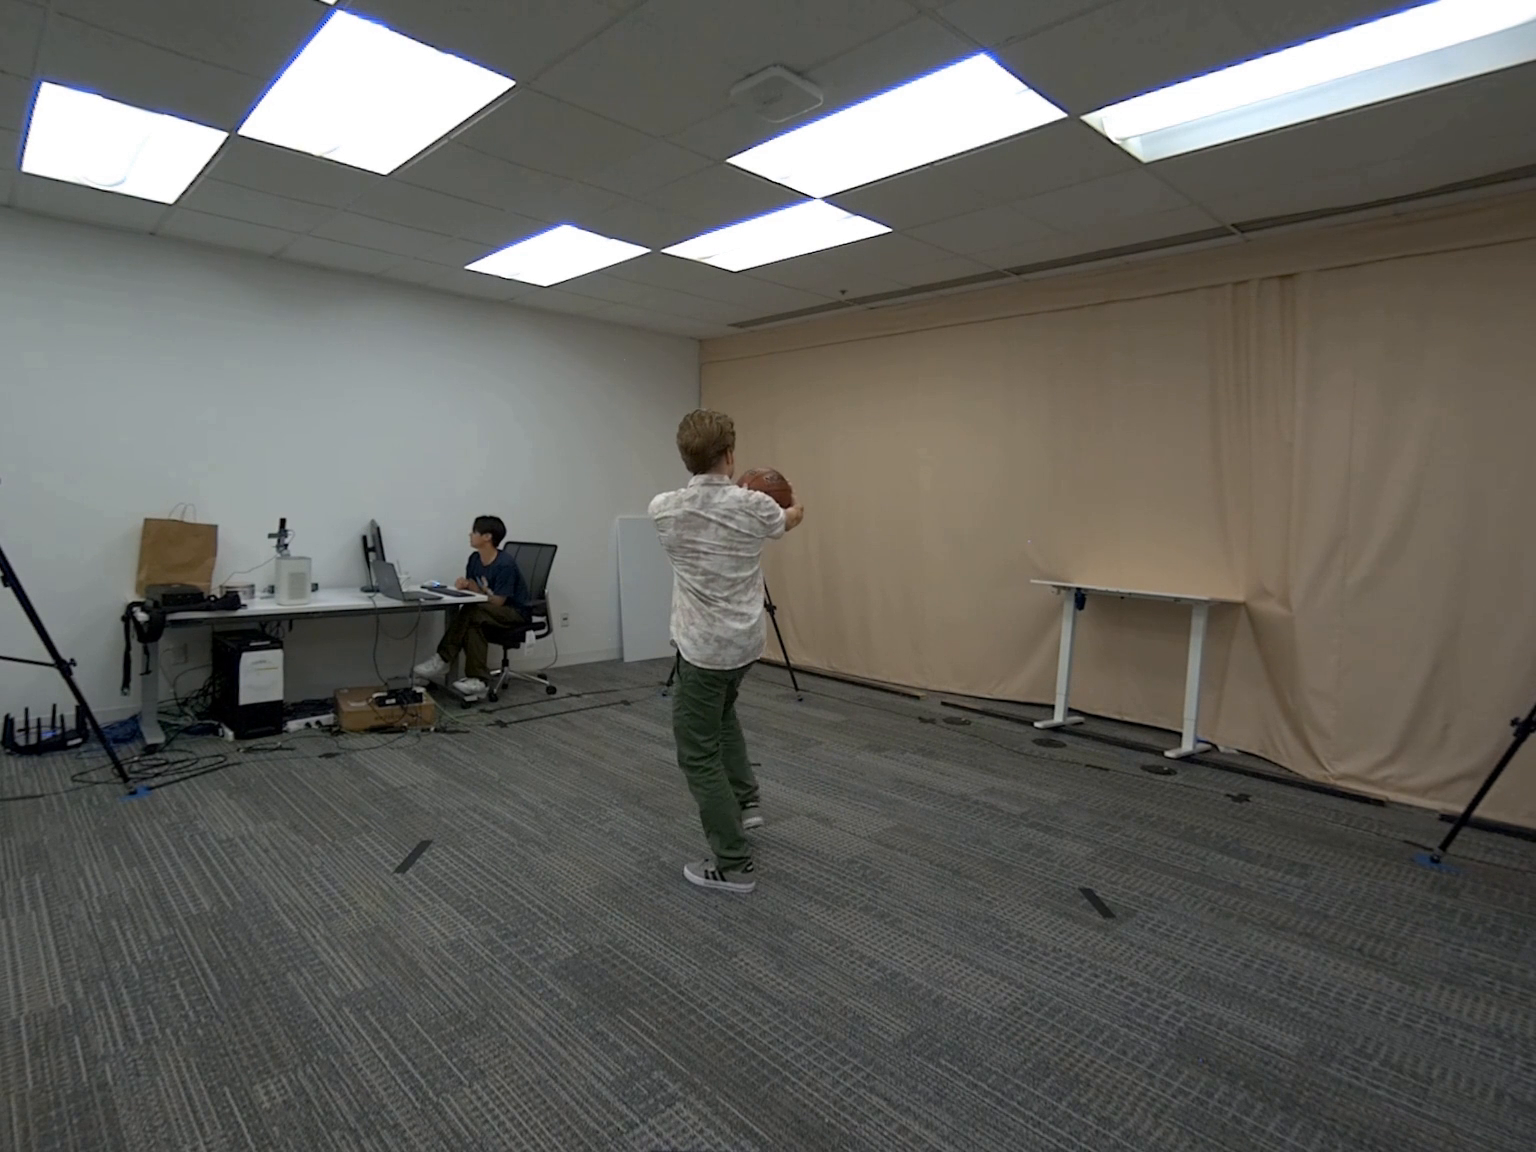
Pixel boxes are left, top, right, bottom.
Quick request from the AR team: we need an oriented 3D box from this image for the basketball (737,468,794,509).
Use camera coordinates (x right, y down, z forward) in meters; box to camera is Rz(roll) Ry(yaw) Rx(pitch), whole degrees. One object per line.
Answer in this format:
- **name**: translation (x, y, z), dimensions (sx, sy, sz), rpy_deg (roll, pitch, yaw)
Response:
- **basketball**: translation (-0.031, -0.340, 3.551), dimensions (0.236, 0.235, 0.237), rpy_deg (1, 4, -1)
